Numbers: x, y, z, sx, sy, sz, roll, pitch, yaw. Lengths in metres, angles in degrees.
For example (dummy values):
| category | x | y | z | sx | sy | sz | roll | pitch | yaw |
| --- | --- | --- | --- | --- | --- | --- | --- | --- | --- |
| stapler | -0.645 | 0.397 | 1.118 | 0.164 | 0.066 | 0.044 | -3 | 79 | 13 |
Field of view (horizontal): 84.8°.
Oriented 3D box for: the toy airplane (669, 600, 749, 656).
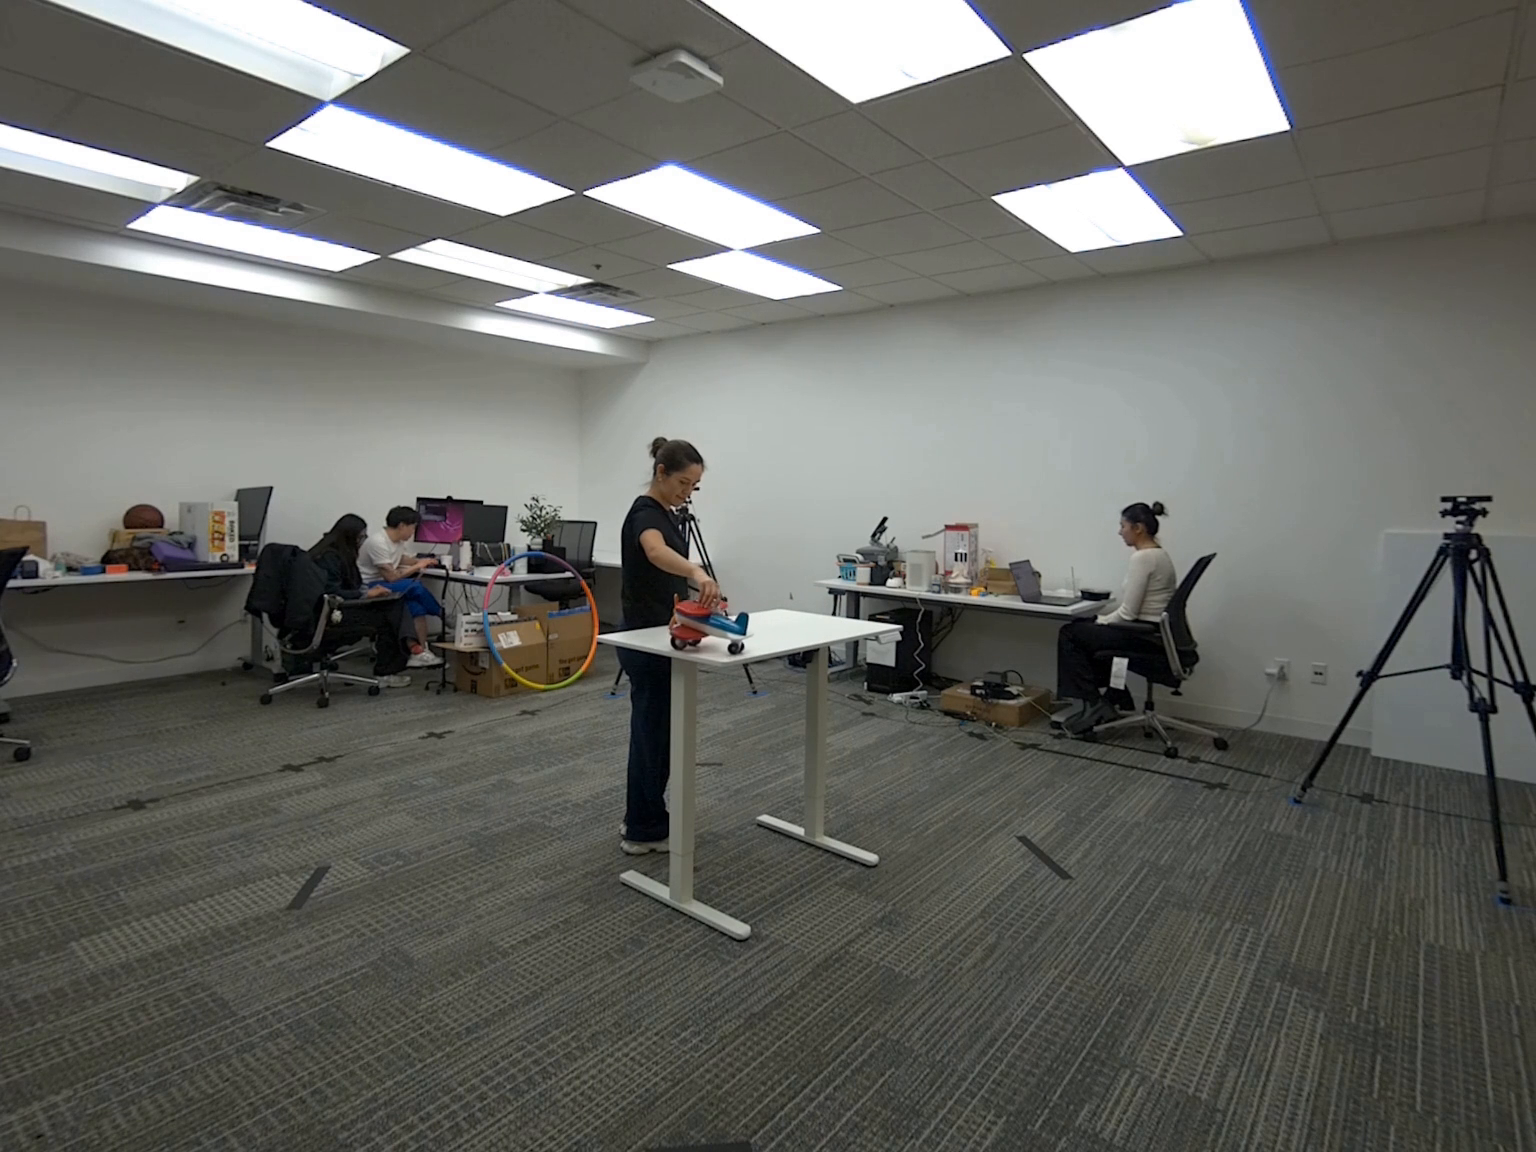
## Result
| category | x | y | z | sx | sy | sz | roll | pitch | yaw |
| --- | --- | --- | --- | --- | --- | --- | --- | --- | --- |
| toy airplane | -0.167 | 0.150 | 2.690 | 0.259 | 0.156 | 0.252 | 0 | 4 | -2 |
